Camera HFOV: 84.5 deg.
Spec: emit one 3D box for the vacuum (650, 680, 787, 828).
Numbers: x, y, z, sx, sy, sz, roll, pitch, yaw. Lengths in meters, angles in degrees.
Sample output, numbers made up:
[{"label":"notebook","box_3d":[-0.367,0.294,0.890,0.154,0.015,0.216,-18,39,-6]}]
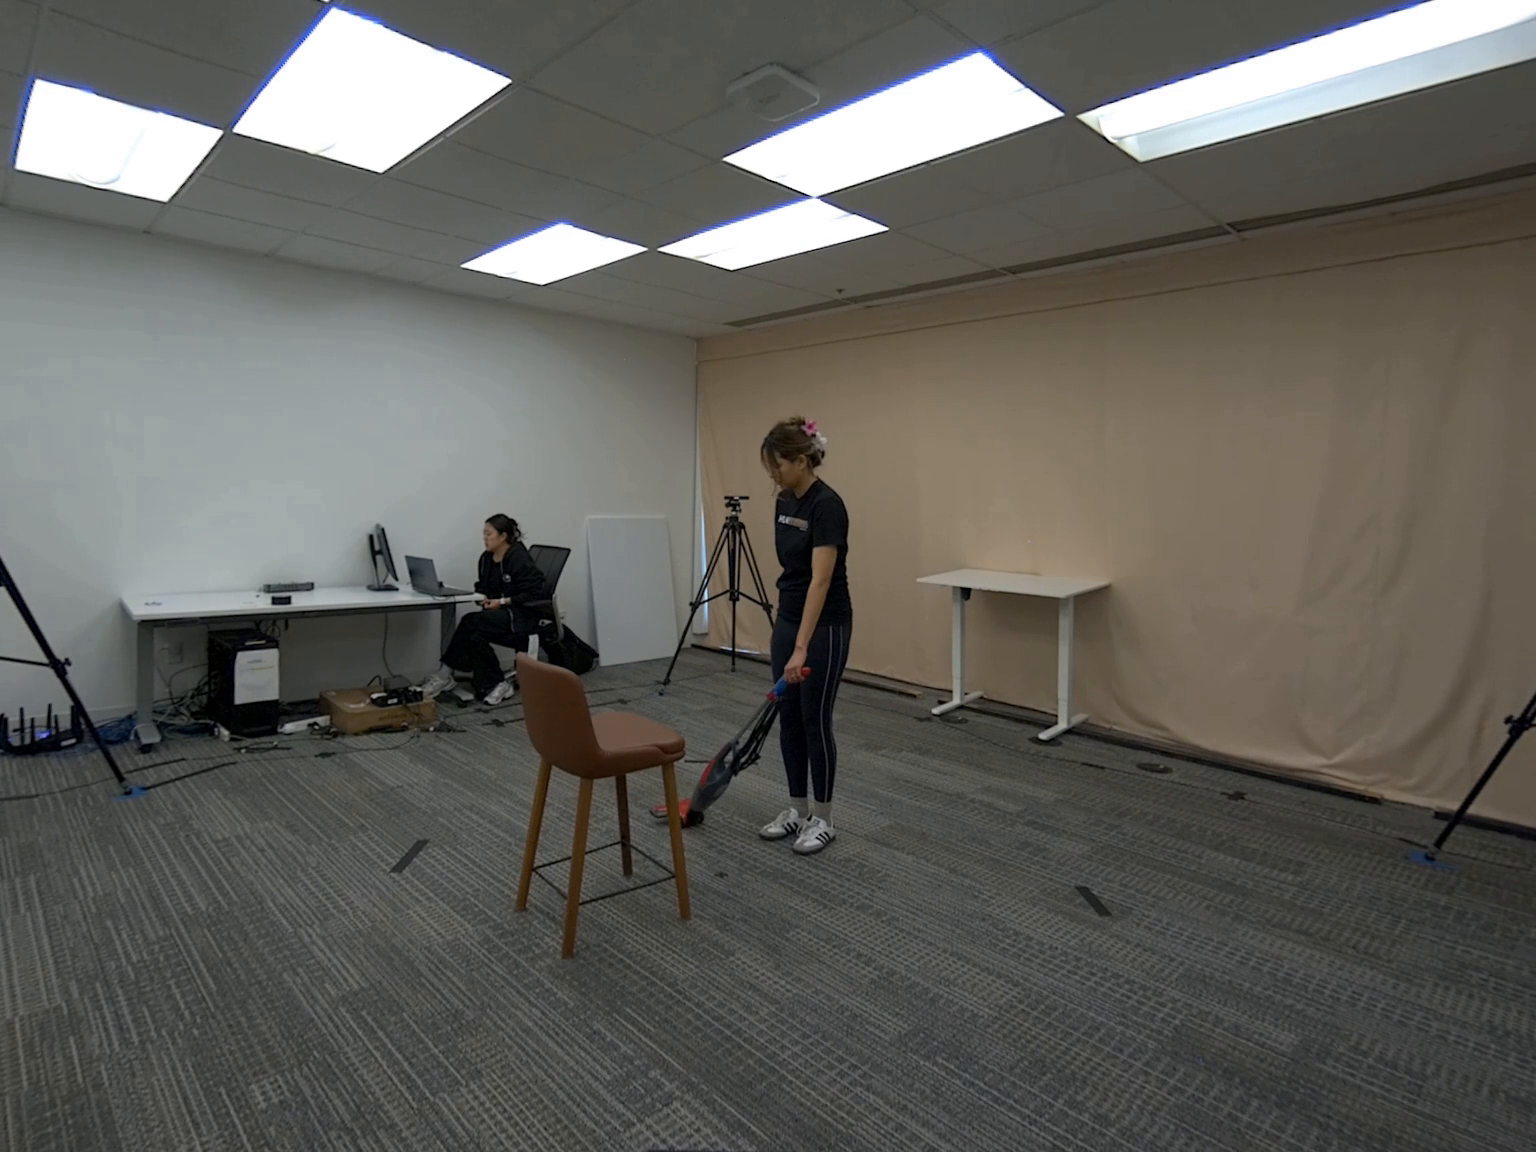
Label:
[{"label":"vacuum","box_3d":[-0.116,0.684,3.293,0.247,0.147,1.045,-7,-35,-43]}]
